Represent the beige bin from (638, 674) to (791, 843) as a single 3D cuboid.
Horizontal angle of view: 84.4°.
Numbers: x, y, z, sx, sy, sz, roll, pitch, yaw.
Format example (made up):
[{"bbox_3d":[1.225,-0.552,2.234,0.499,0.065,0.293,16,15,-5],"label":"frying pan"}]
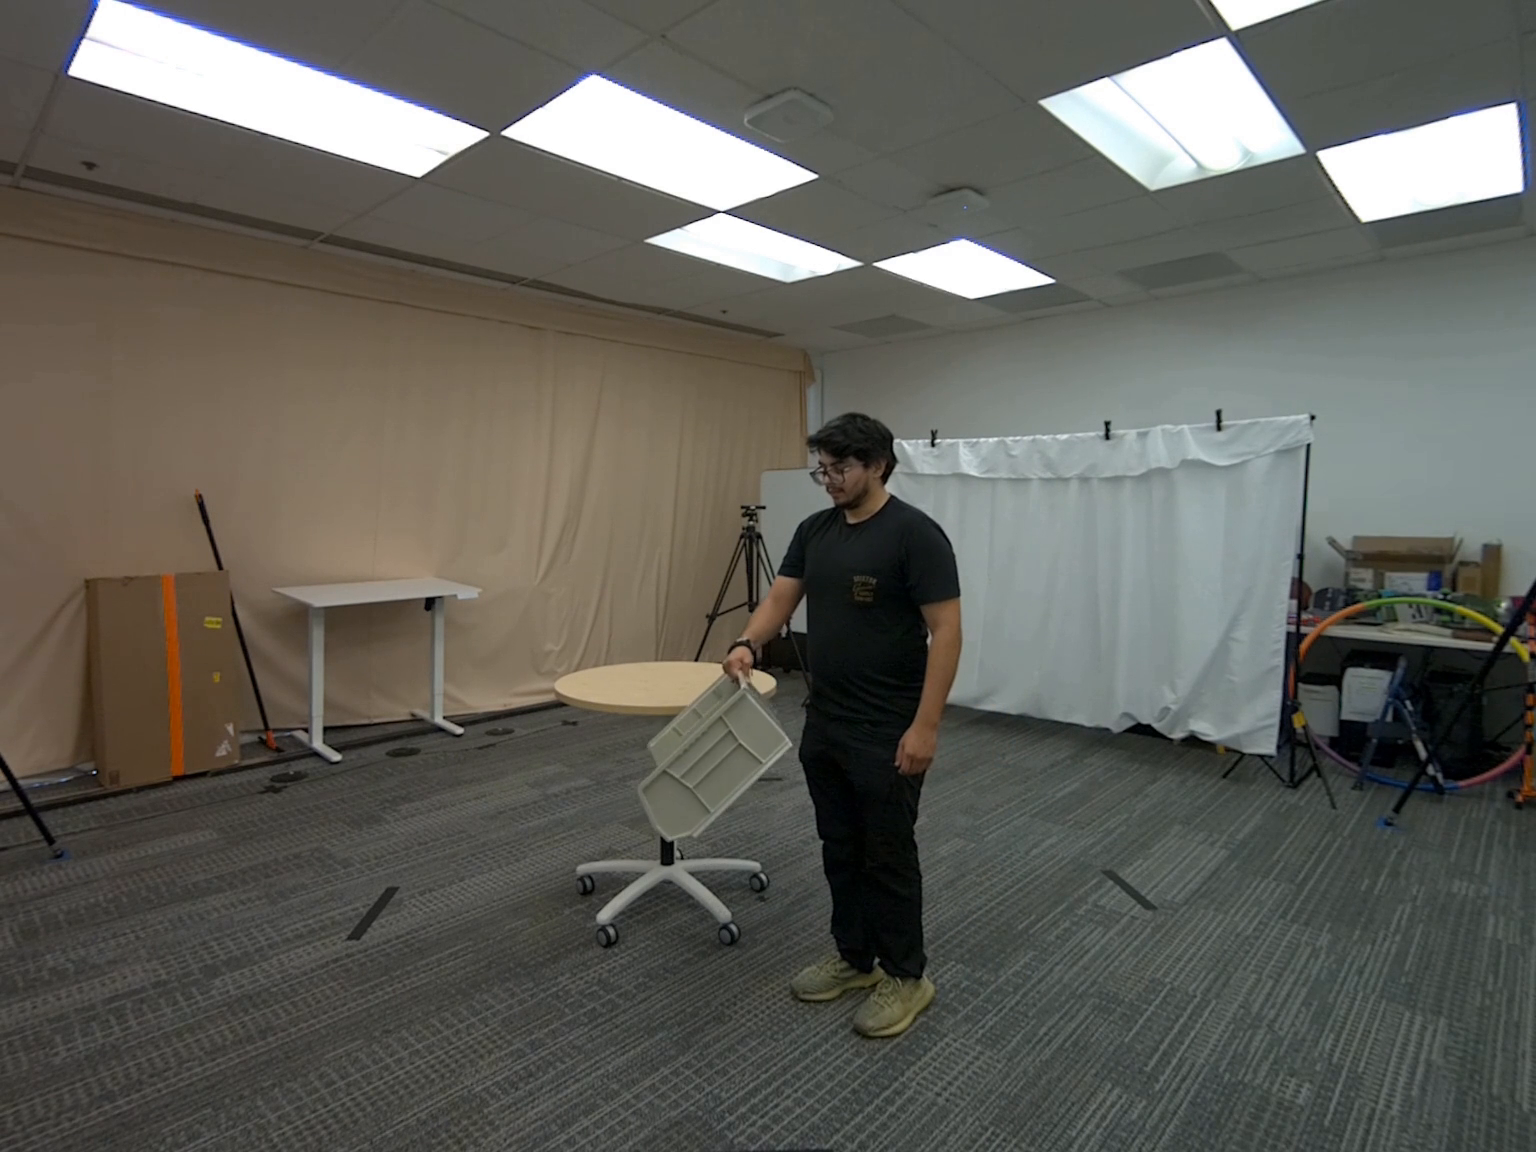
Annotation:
[{"bbox_3d":[-0.139,0.442,2.138,0.377,0.189,0.423,-41,3,-2],"label":"beige bin"}]
